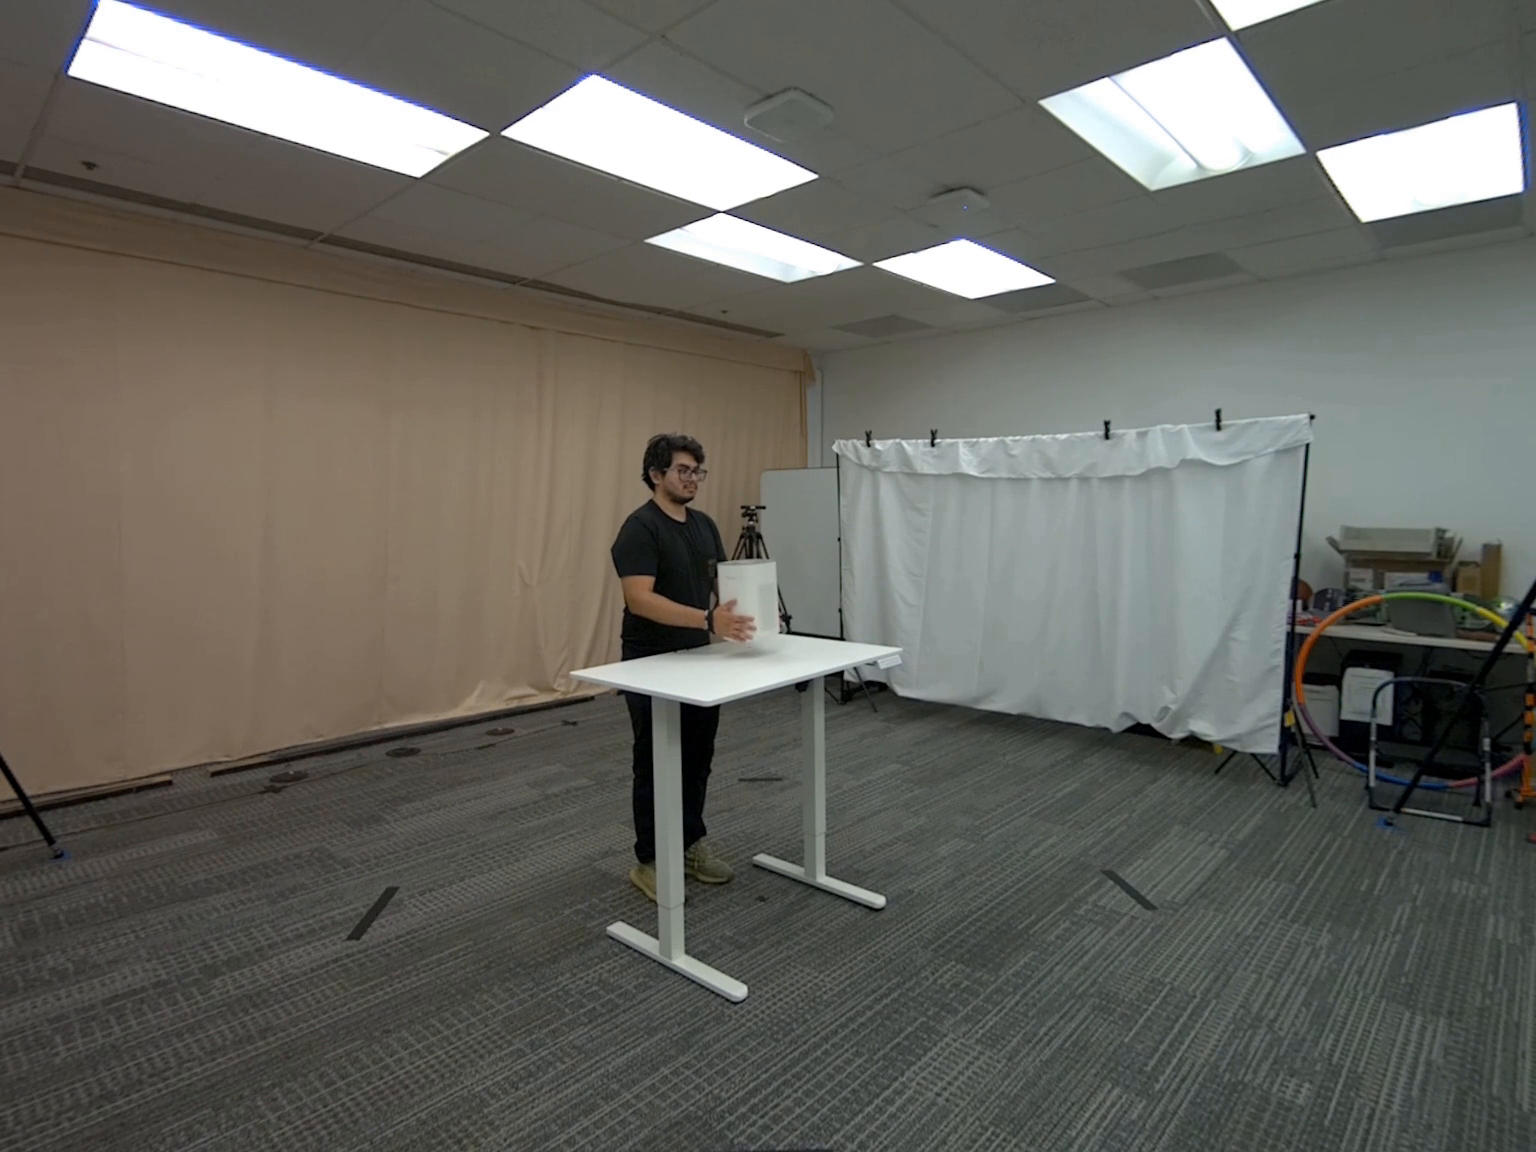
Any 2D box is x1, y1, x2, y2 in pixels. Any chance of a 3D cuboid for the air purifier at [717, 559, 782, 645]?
[{"bbox_3d":[-0.059,0.083,2.851,0.176,0.265,0.167,-1,4,37],"label":"air purifier"}]
